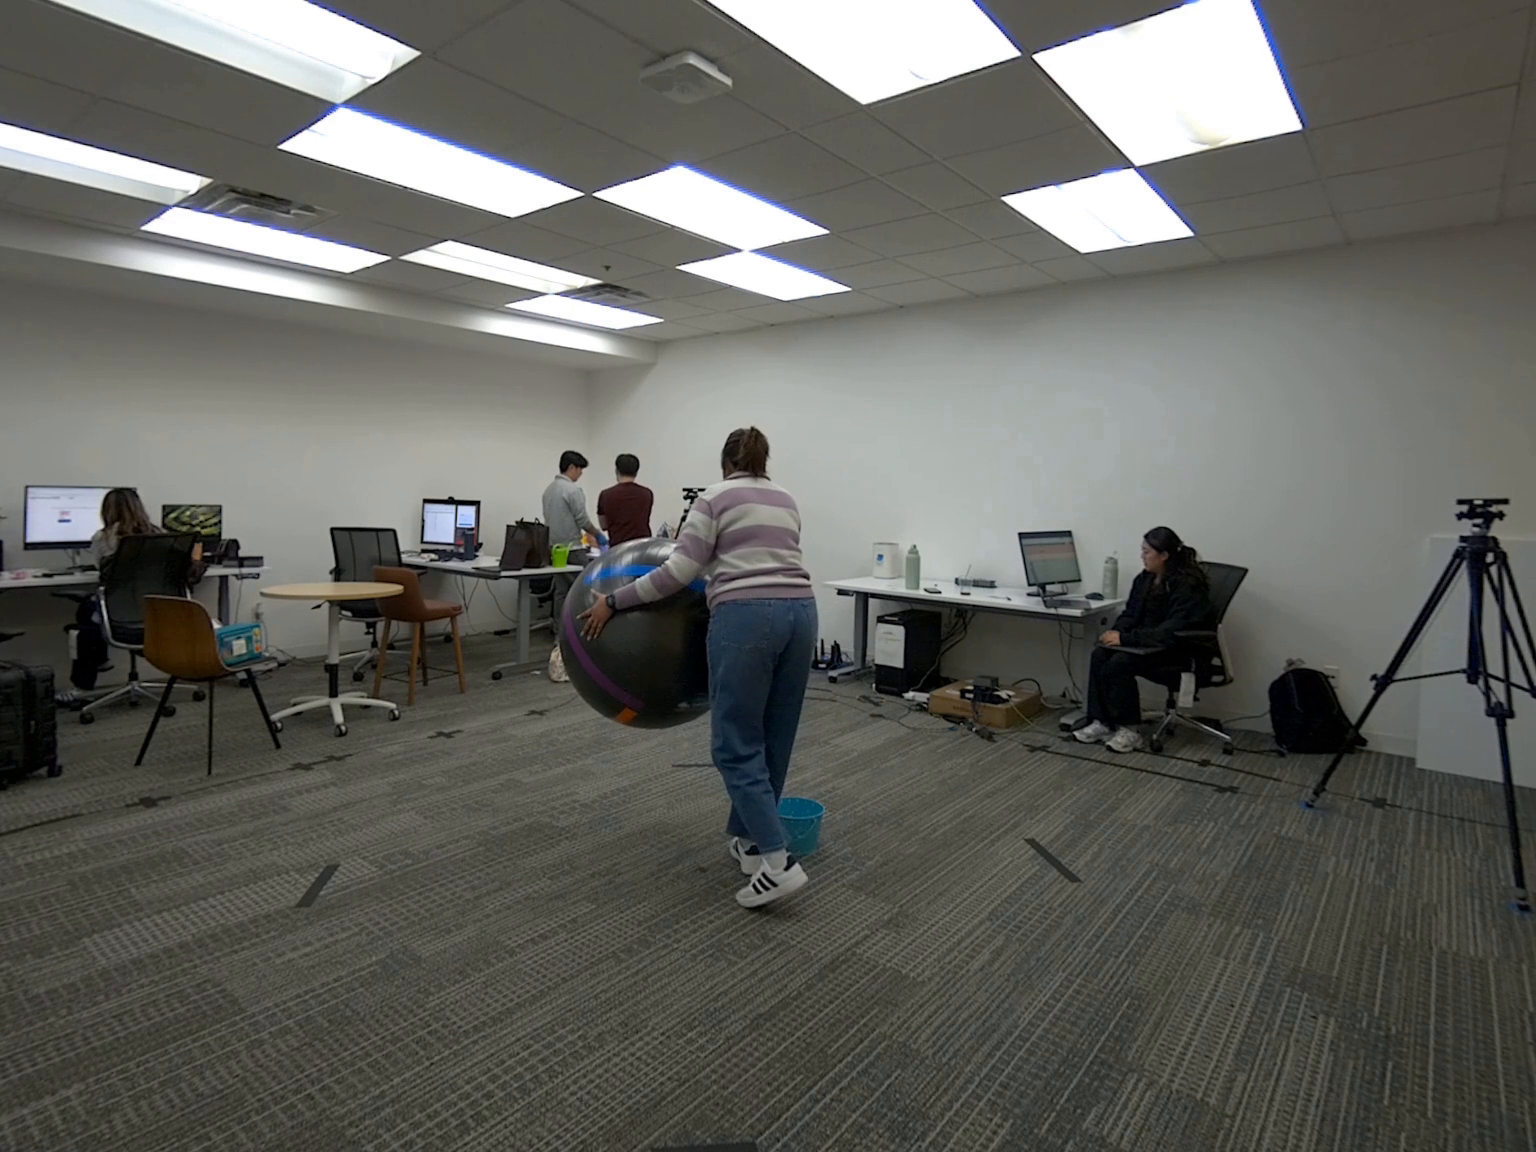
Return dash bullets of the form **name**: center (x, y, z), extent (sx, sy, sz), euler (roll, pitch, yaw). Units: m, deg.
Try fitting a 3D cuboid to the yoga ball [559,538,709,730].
- **yoga ball**: center (-0.462, 0.235, 3.408), extent (0.757, 0.756, 0.762), euler (1, 4, -2)
